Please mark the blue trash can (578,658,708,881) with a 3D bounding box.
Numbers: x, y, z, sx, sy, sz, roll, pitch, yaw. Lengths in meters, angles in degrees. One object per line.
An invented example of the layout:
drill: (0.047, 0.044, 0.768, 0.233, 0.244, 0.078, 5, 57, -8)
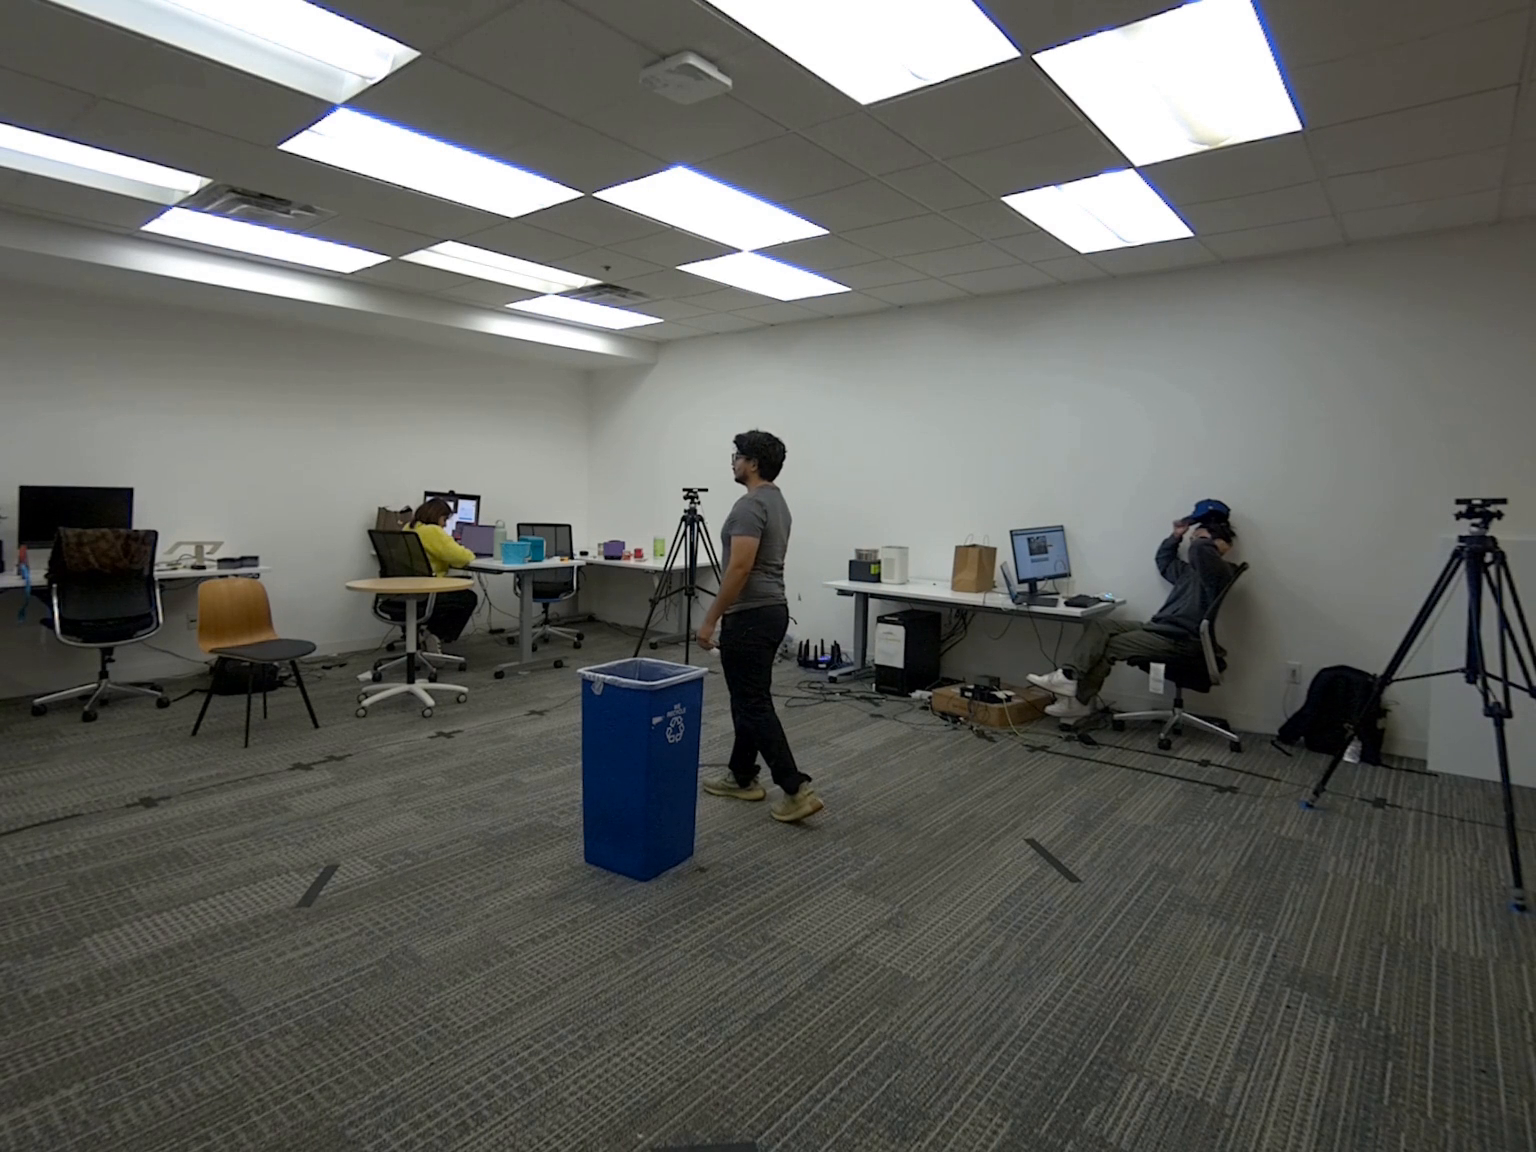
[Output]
blue trash can: (-0.483, 0.700, 3.189, 0.390, 0.712, 0.364, 3, 4, 33)
